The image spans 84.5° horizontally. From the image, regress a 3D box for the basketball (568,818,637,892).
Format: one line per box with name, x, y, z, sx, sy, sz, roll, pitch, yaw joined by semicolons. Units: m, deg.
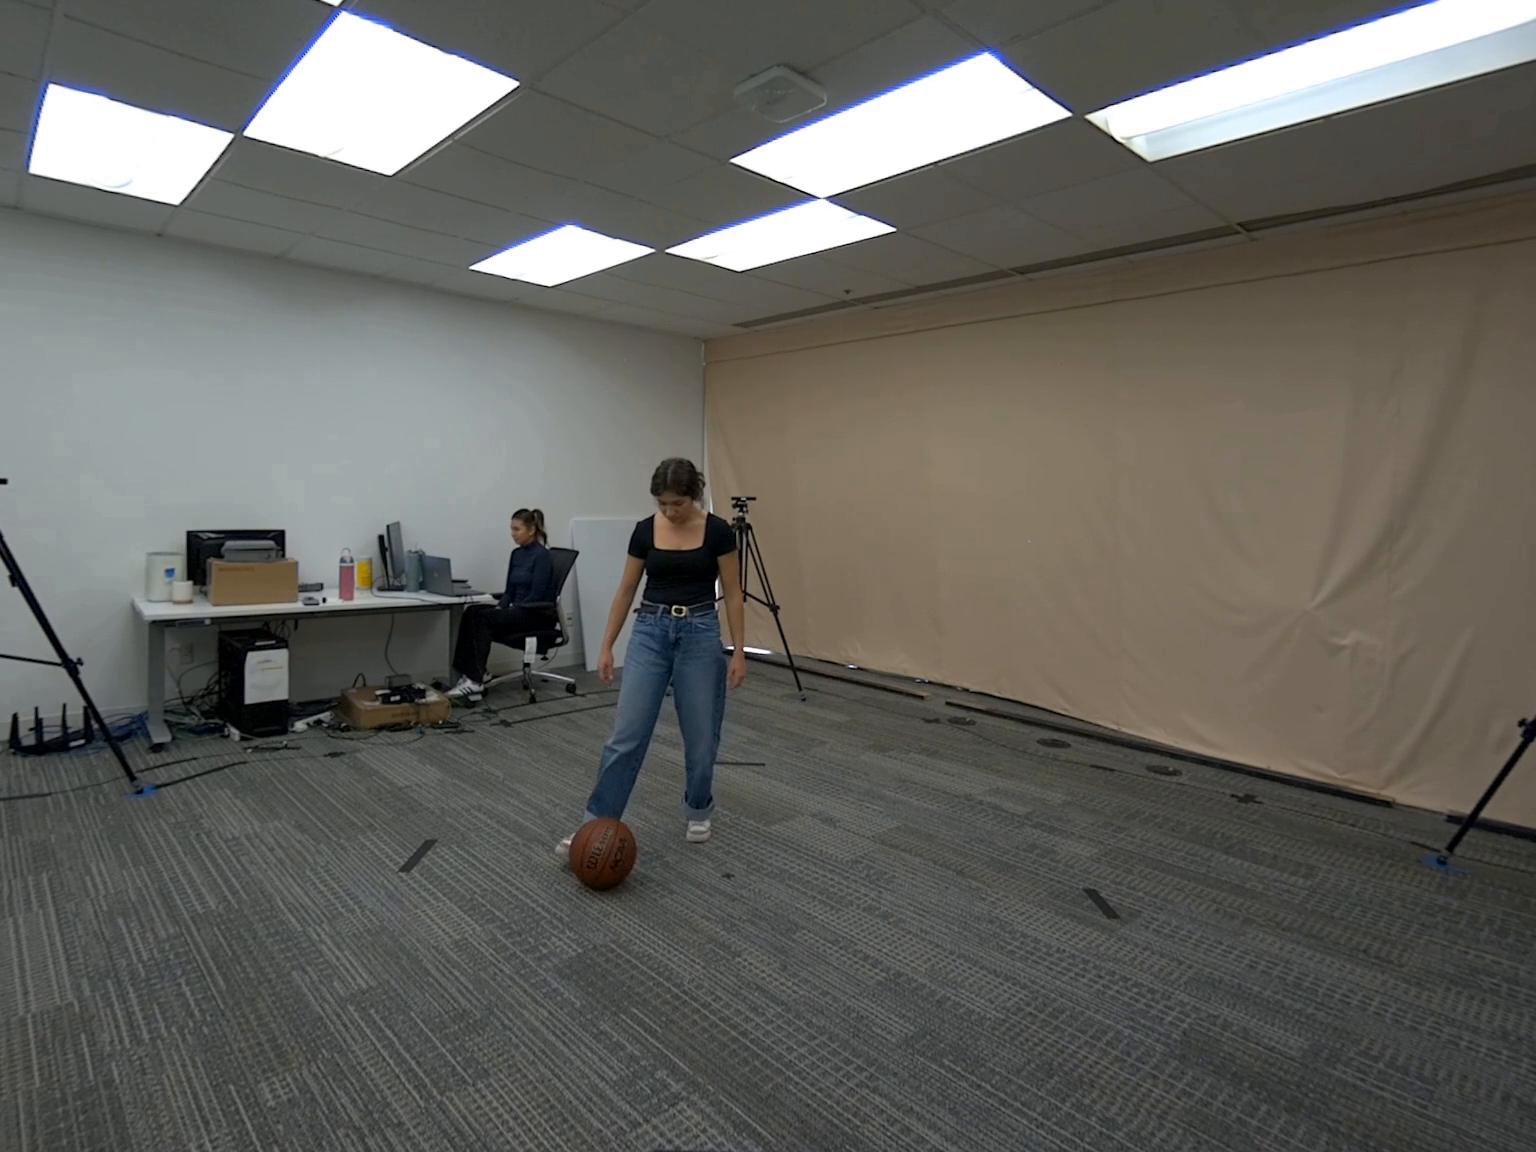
basketball;-0.596;0.985;2.997;0.236;0.235;0.237;1;4;-1
